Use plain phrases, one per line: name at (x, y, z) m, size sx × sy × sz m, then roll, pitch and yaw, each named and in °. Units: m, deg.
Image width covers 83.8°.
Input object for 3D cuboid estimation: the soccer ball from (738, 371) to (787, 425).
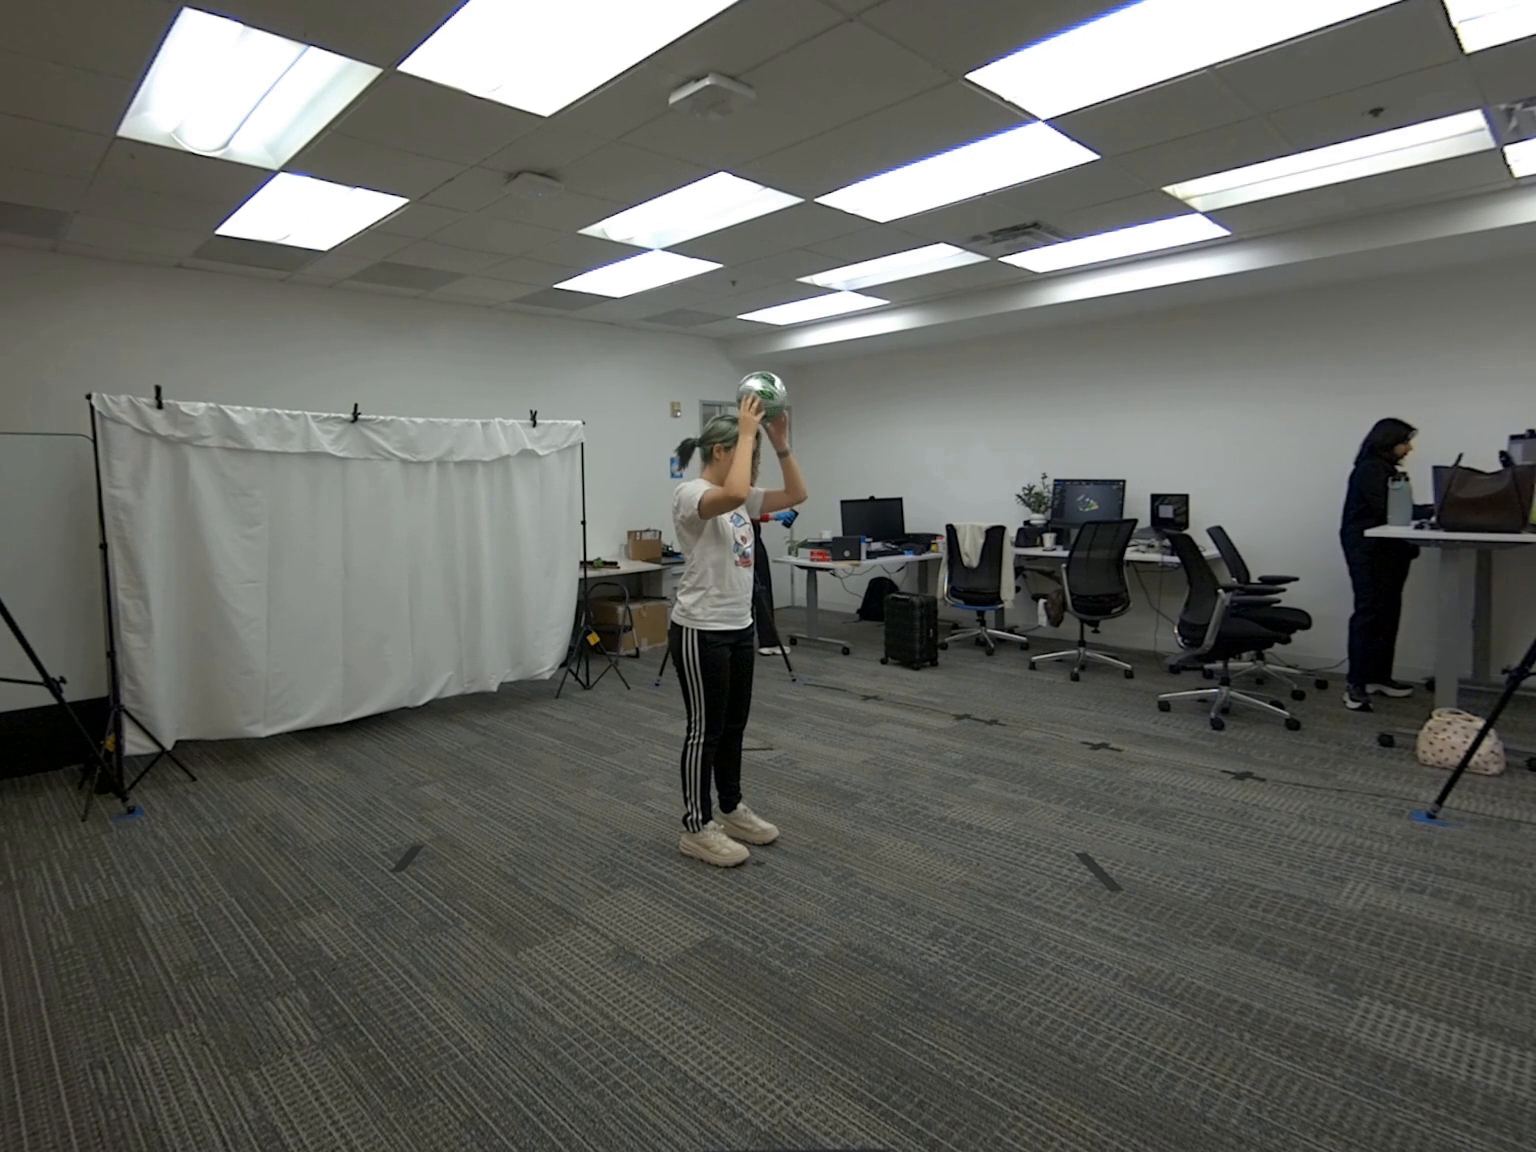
soccer ball at (-0.016, -0.637, 3.089) m, size 0.187 × 0.187 × 0.188 m, roll -1°, pitch 5°, yaw -2°
